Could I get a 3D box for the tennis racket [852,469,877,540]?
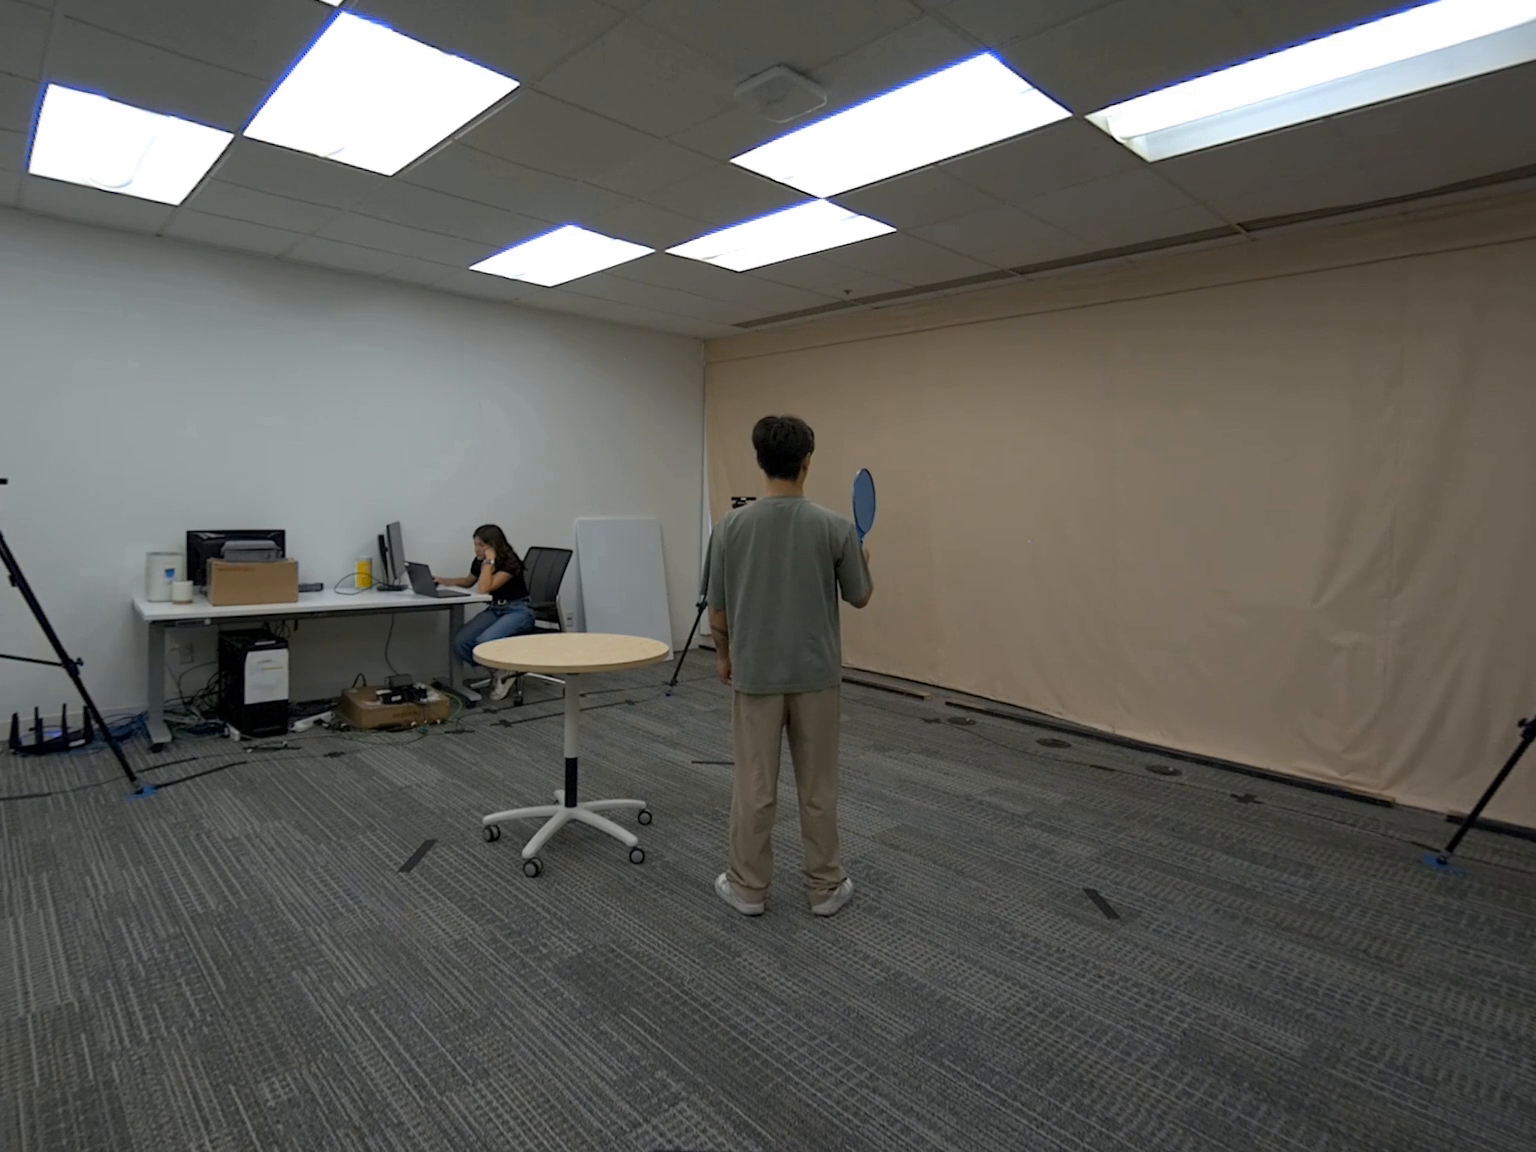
[{"bbox_3d":[0.358,-0.218,3.281,0.032,0.439,0.207,-4,-29,28],"label":"tennis racket"}]
